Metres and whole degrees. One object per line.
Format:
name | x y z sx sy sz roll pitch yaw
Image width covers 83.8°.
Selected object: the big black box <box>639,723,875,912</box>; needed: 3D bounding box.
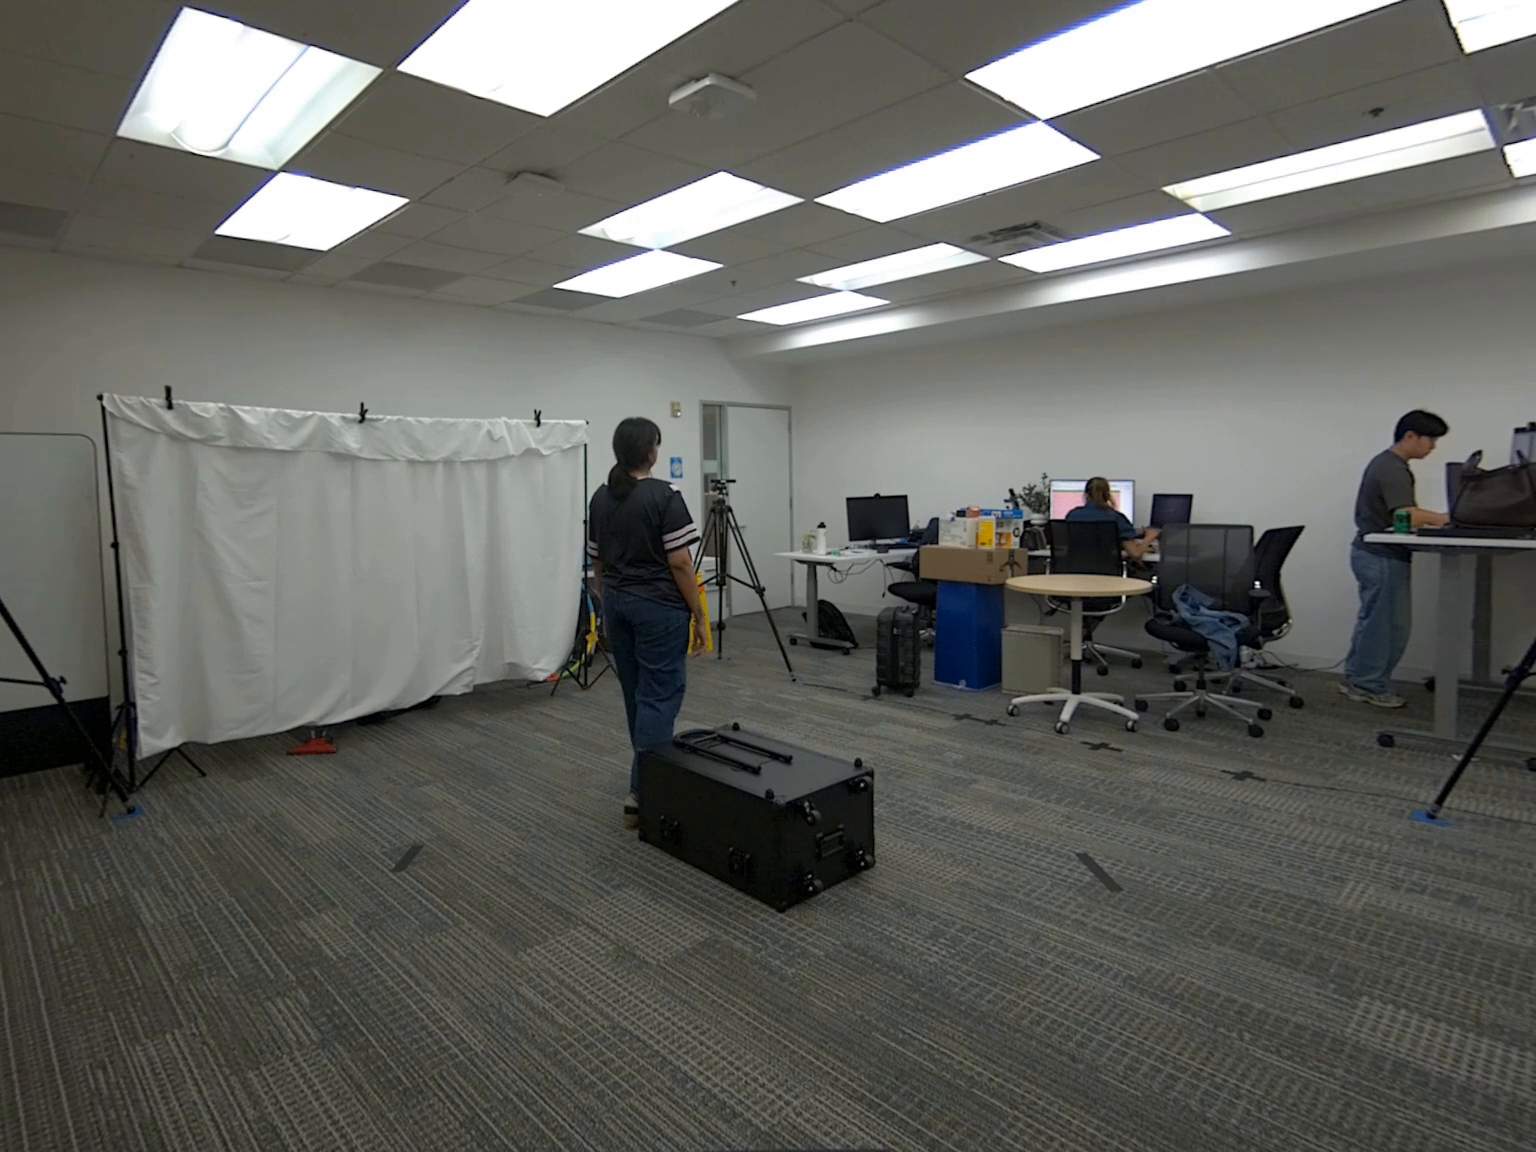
big black box | -0.029 0.855 3.166 0.509 0.384 0.895 -5 7 -43
